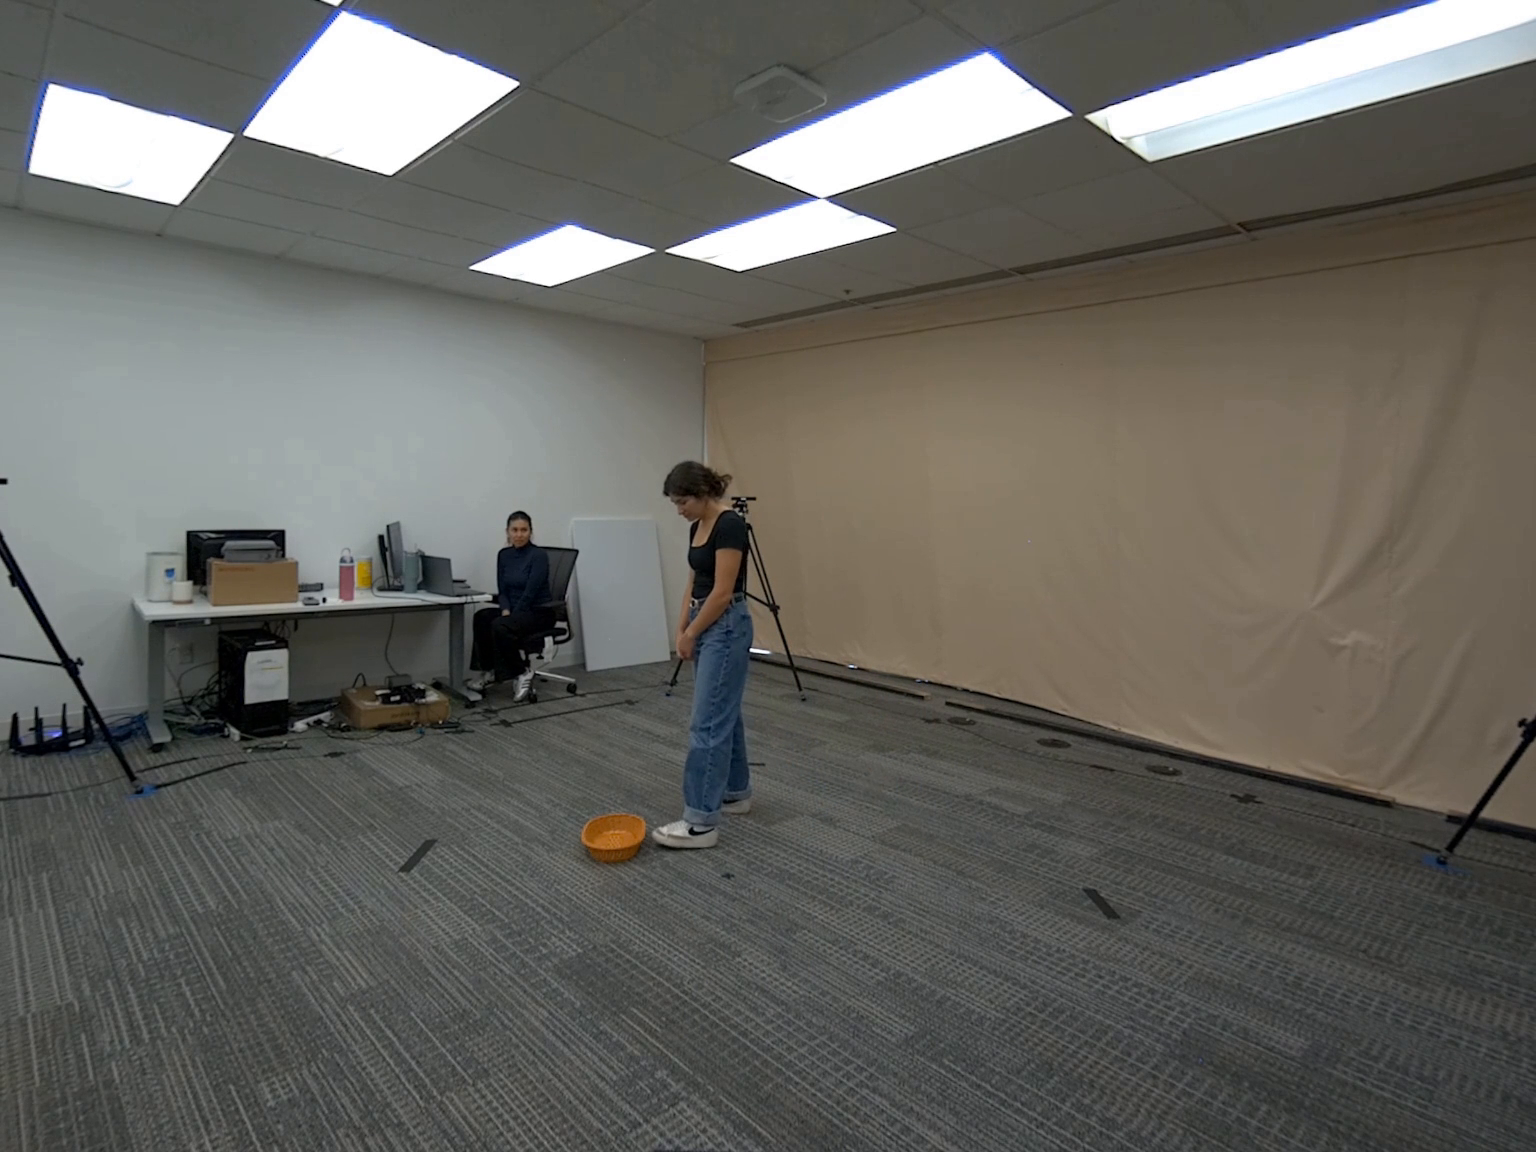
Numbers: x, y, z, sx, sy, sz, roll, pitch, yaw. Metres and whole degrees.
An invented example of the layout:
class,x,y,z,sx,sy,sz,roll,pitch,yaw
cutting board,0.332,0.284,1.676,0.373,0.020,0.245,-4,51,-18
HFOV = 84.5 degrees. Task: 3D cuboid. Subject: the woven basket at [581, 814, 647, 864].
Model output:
class,x,y,z,sx,sy,sz,roll,pitch,yaw
woven basket,-0.619,1.040,3.326,0.252,0.073,0.352,0,6,-3
